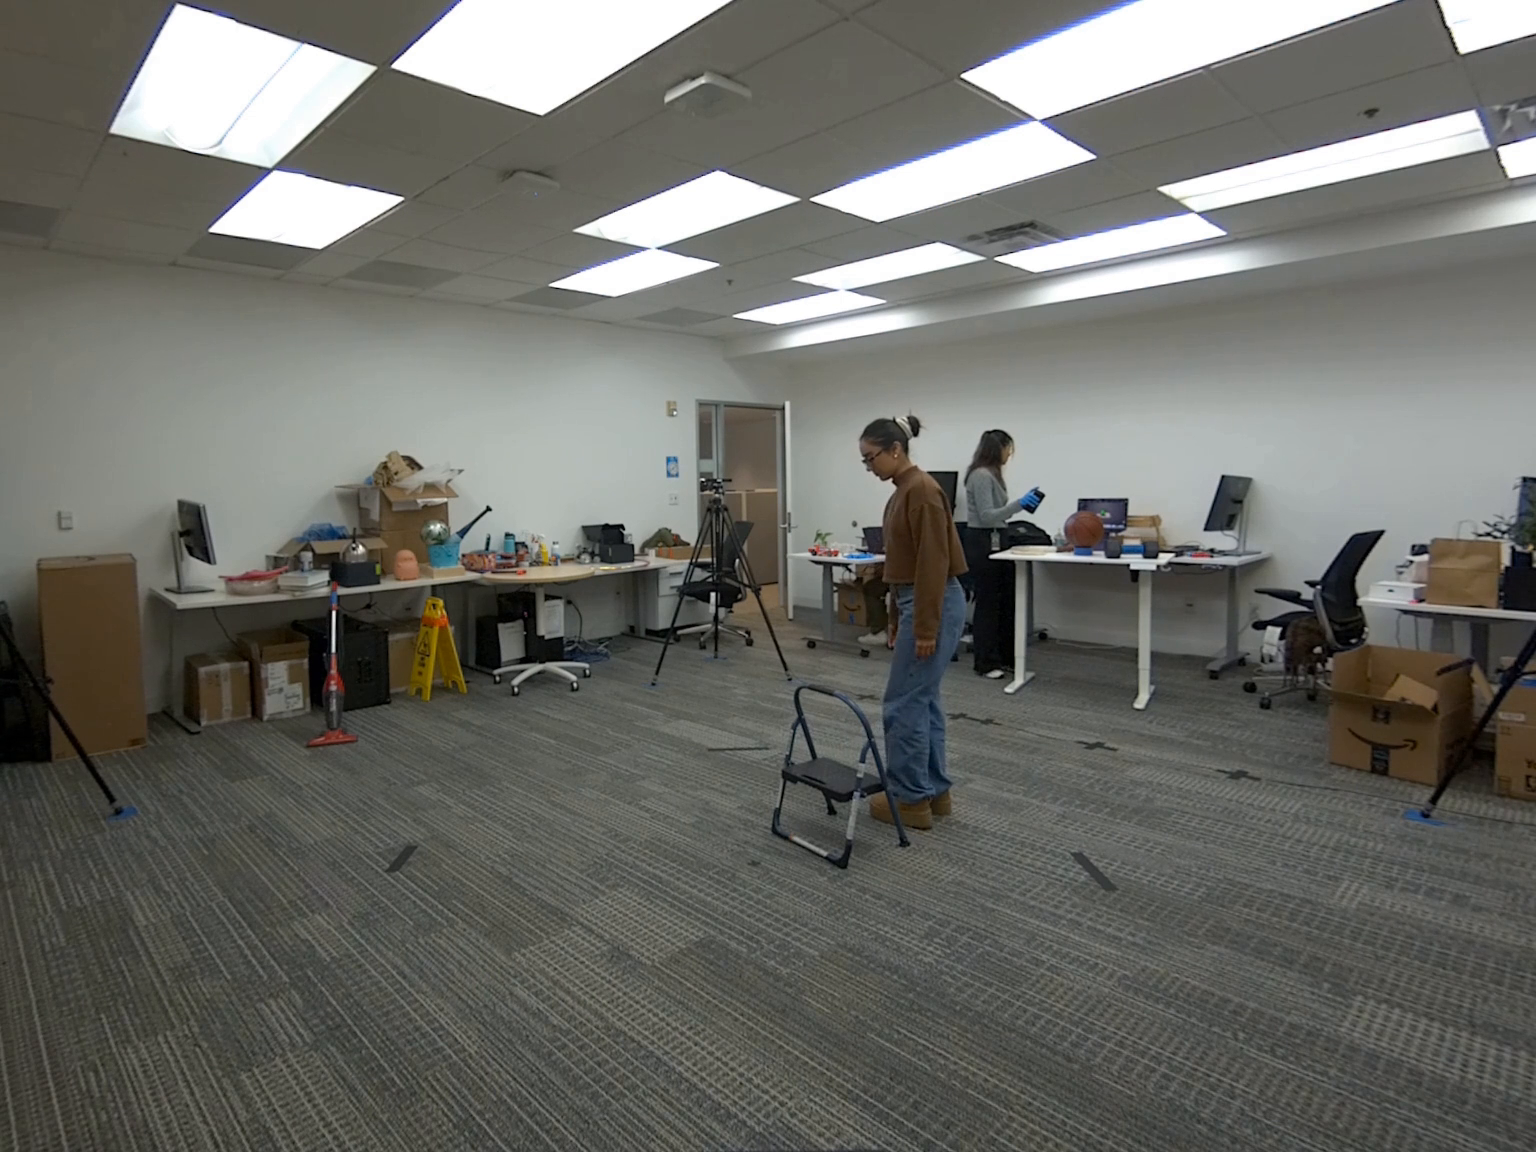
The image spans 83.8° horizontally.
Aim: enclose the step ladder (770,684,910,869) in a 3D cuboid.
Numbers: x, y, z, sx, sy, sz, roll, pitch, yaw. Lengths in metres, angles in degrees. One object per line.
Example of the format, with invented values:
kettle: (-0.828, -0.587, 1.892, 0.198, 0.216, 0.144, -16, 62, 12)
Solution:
step ladder: (0.272, 0.715, 3.289, 0.340, 0.604, 0.444, -4, 6, -38)
